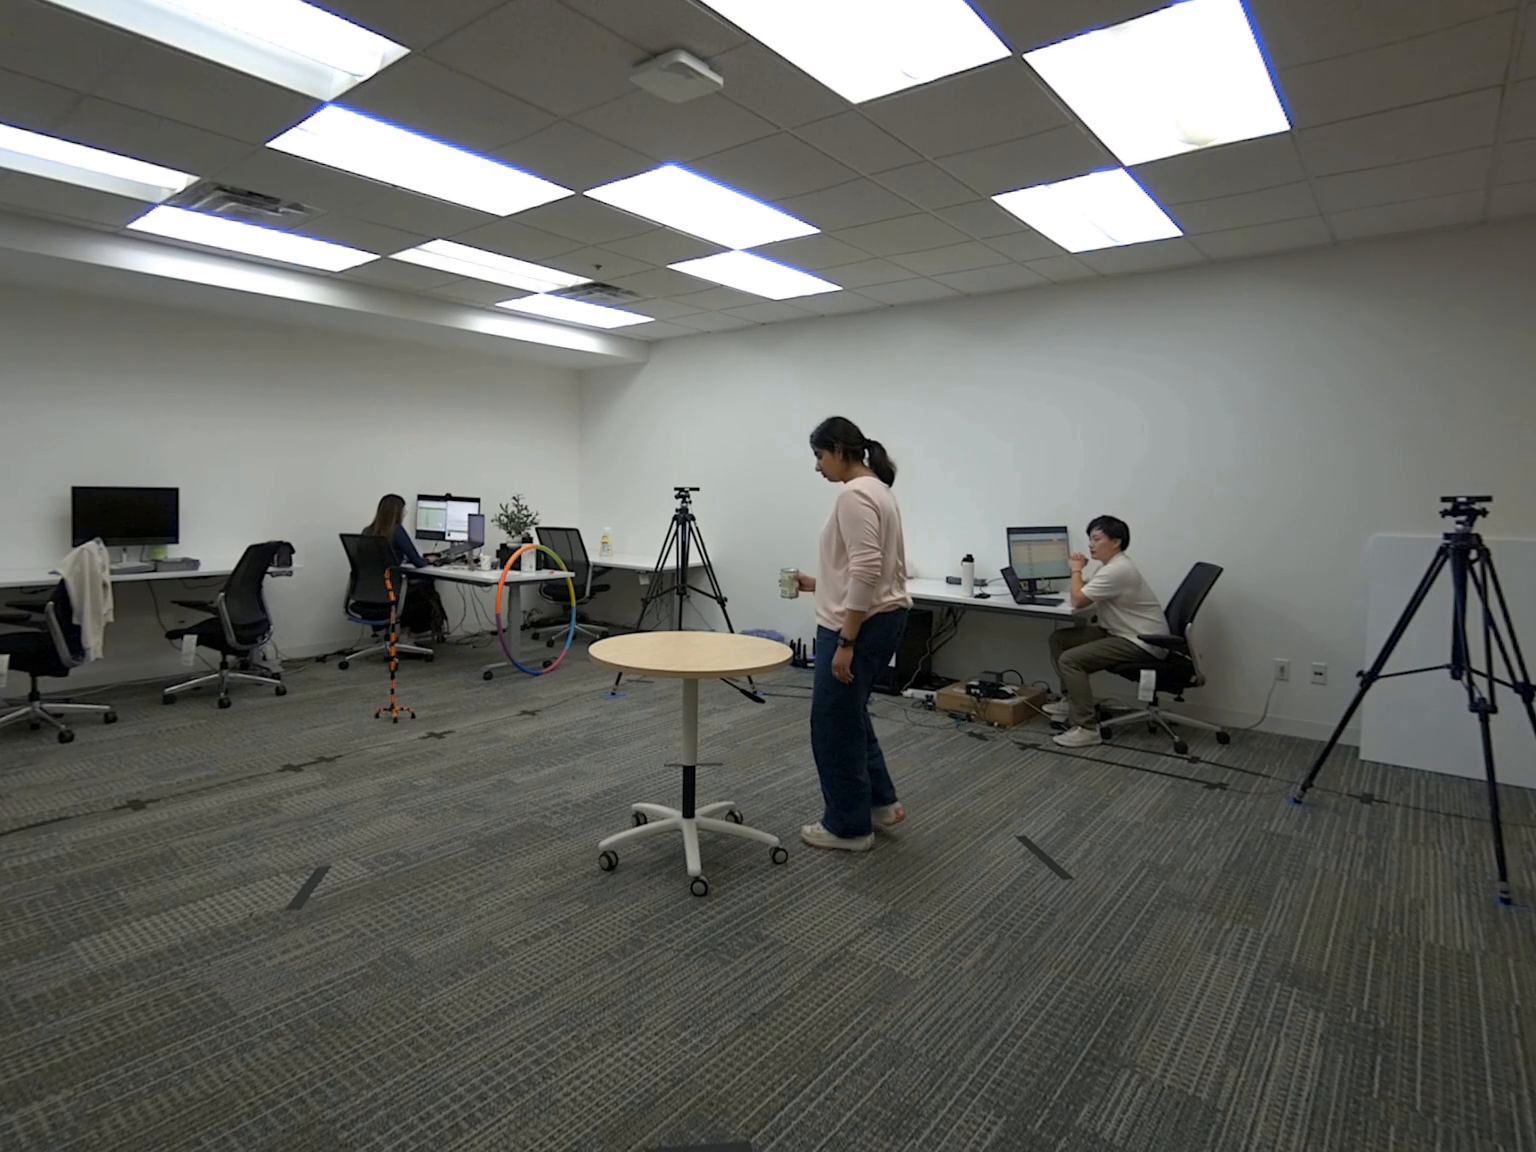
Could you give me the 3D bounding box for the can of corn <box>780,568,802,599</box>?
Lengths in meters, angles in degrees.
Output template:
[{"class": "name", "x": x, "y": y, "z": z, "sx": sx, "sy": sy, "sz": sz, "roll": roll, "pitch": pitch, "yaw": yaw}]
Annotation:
[{"class": "can of corn", "x": 0.092, "y": 0.028, "z": 3.503, "sx": 0.074, "sy": 0.111, "sz": 0.074, "roll": 3, "pitch": 4, "yaw": -2}]
